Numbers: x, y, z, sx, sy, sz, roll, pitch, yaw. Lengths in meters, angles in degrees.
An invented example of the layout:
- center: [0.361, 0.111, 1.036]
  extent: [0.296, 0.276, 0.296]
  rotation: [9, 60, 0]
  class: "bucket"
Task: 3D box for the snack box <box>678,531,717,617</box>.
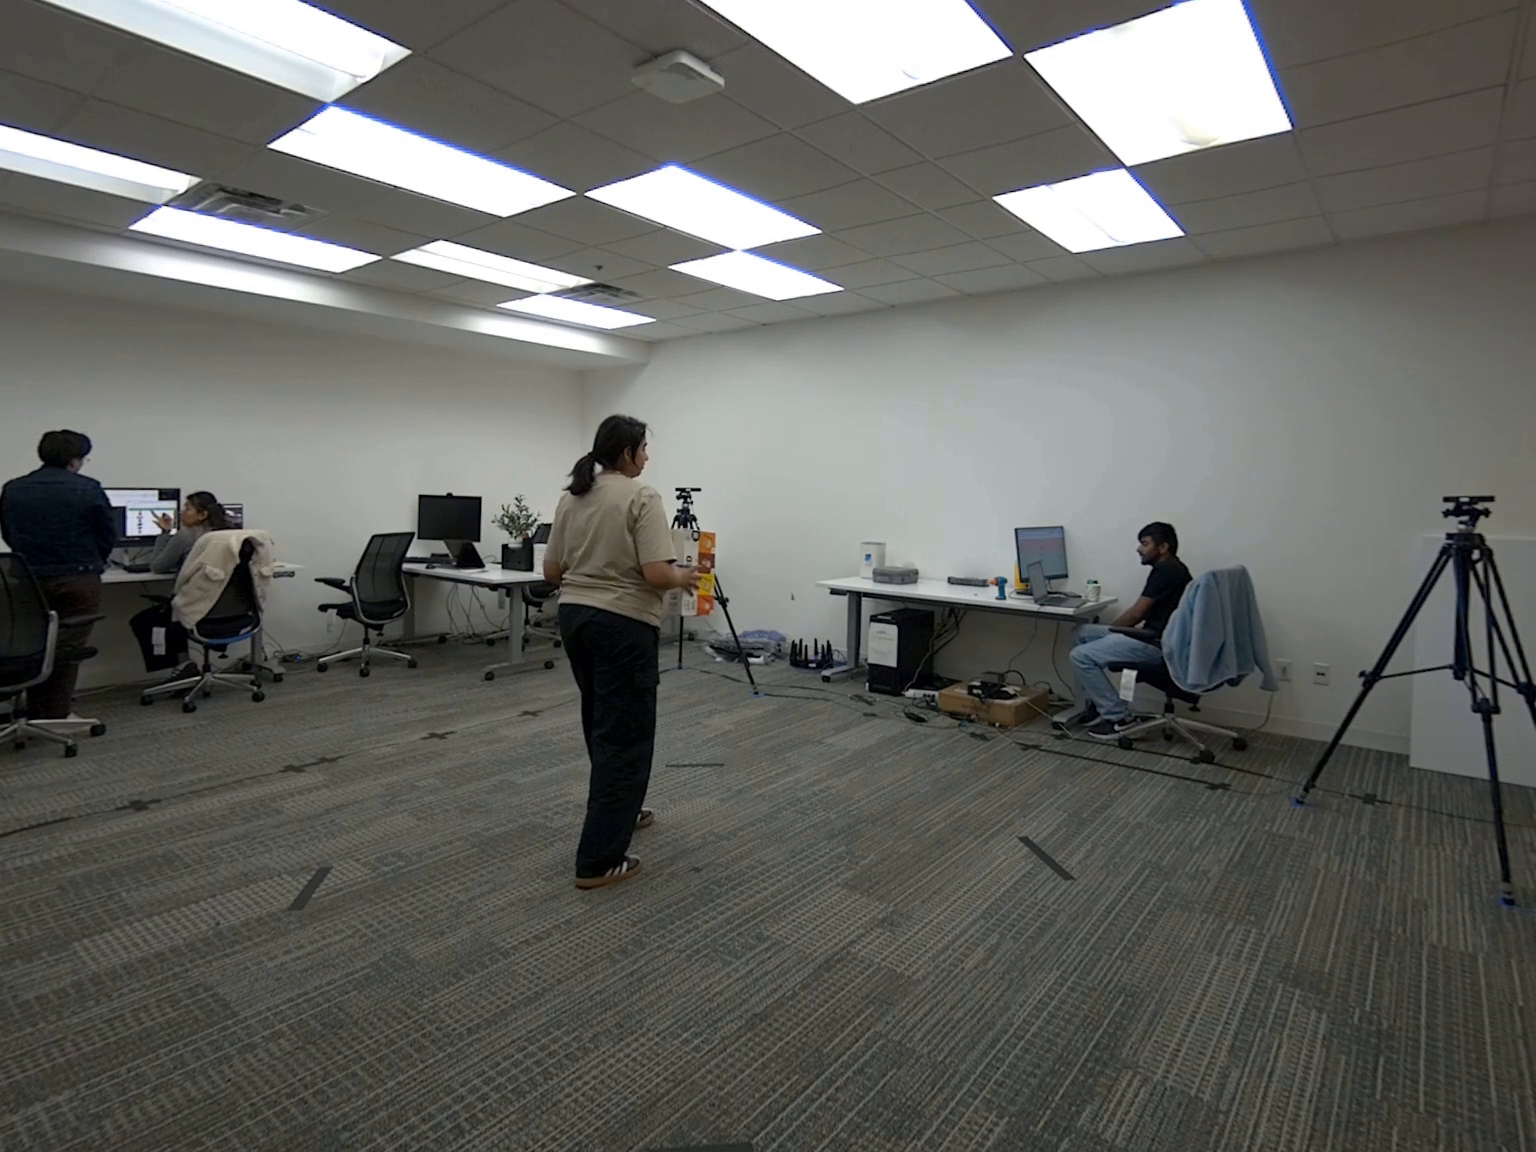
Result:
- center: [-0.444, -0.014, 3.491]
  extent: [0.417, 0.342, 0.199]
  rotation: [0, -5, 35]
  class: "snack box"
